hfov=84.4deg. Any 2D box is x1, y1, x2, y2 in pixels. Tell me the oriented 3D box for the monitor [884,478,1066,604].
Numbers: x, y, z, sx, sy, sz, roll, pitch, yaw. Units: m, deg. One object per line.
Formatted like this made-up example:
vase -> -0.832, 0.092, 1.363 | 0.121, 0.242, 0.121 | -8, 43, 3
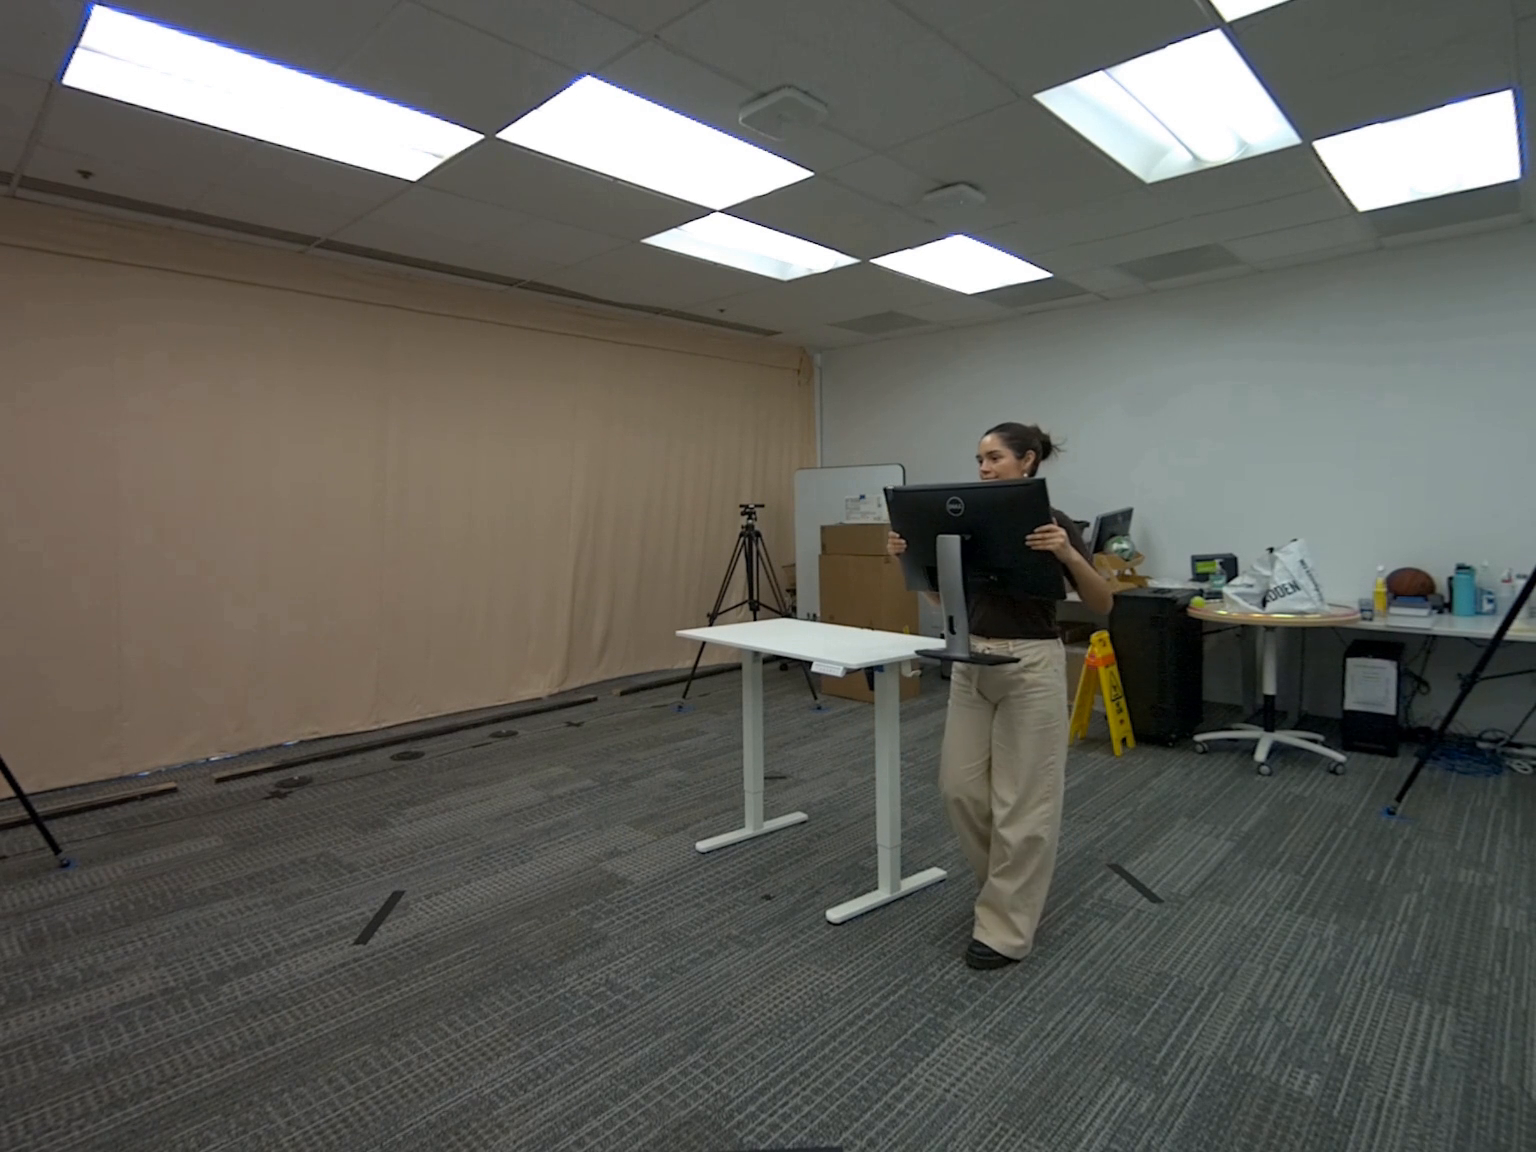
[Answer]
monitor -> 0.580, -0.011, 2.472 | 0.557, 0.521, 0.181 | 1, 6, 45
